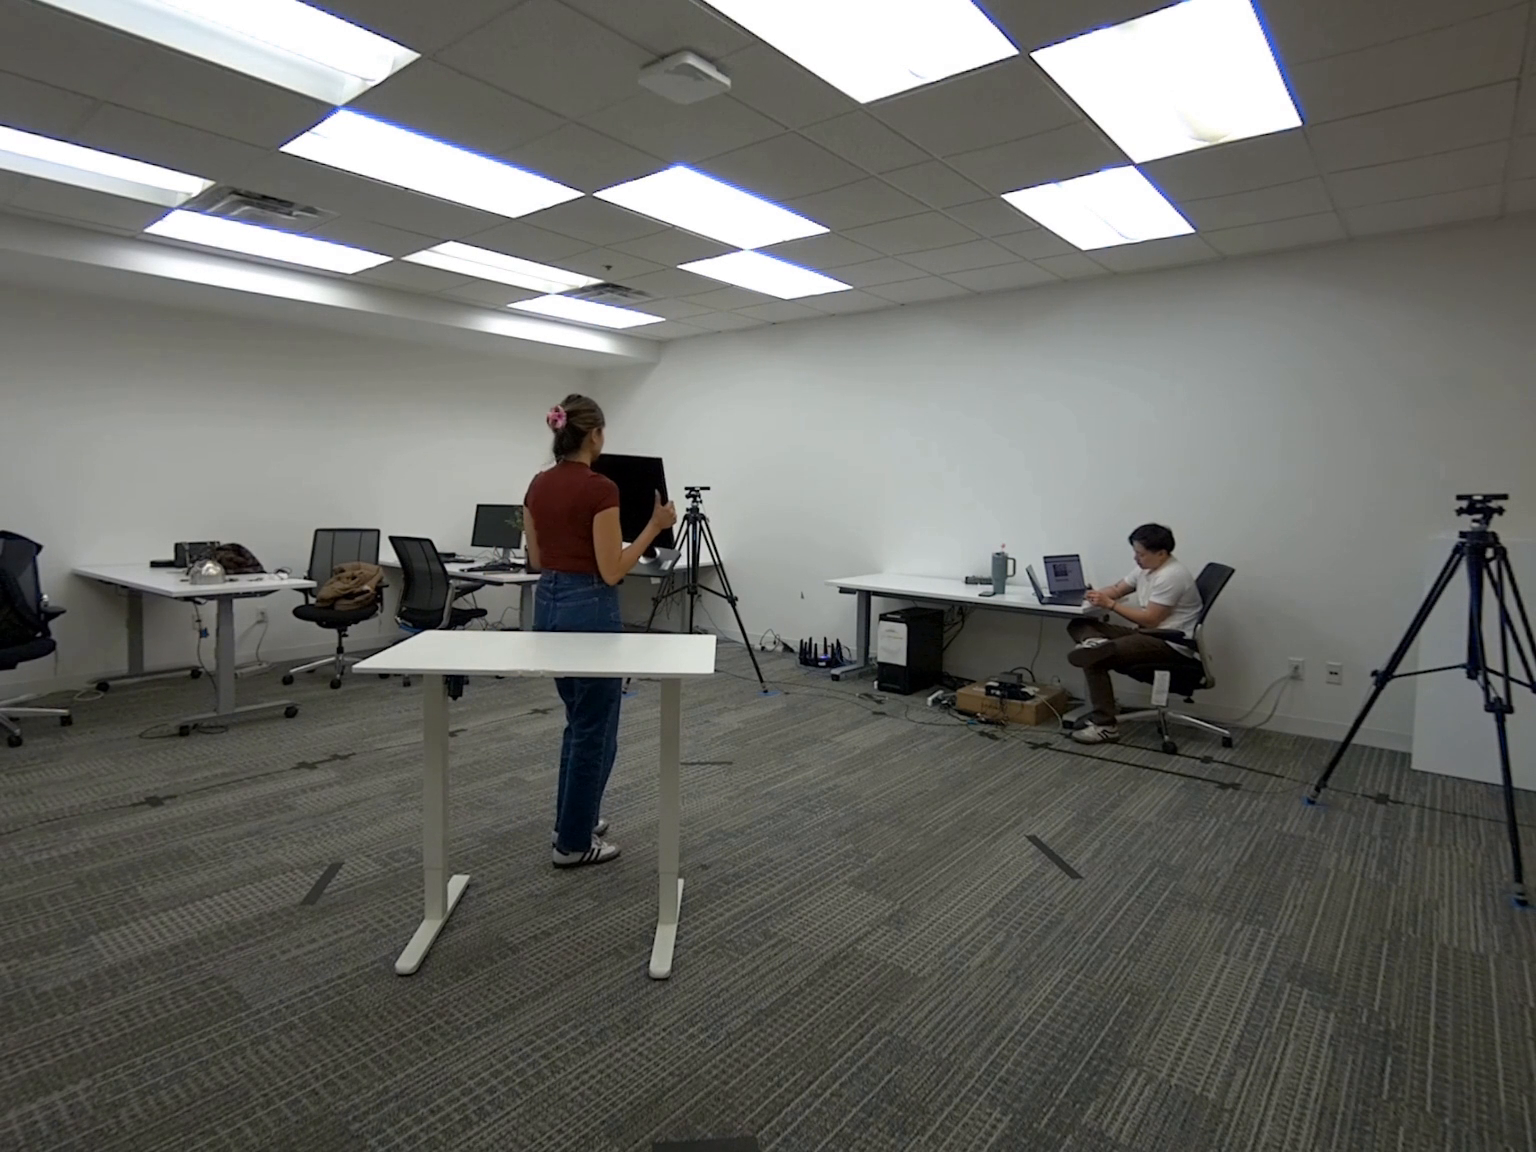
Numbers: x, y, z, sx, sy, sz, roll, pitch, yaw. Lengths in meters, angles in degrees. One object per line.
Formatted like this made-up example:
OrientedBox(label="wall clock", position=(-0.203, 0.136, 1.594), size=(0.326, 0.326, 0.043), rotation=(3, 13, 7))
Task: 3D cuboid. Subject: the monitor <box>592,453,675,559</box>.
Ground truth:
OrientedBox(label="monitor", position=(-0.559, -0.245, 3.296), size=(0.556, 0.505, 0.187), rotation=(7, 39, 32))
